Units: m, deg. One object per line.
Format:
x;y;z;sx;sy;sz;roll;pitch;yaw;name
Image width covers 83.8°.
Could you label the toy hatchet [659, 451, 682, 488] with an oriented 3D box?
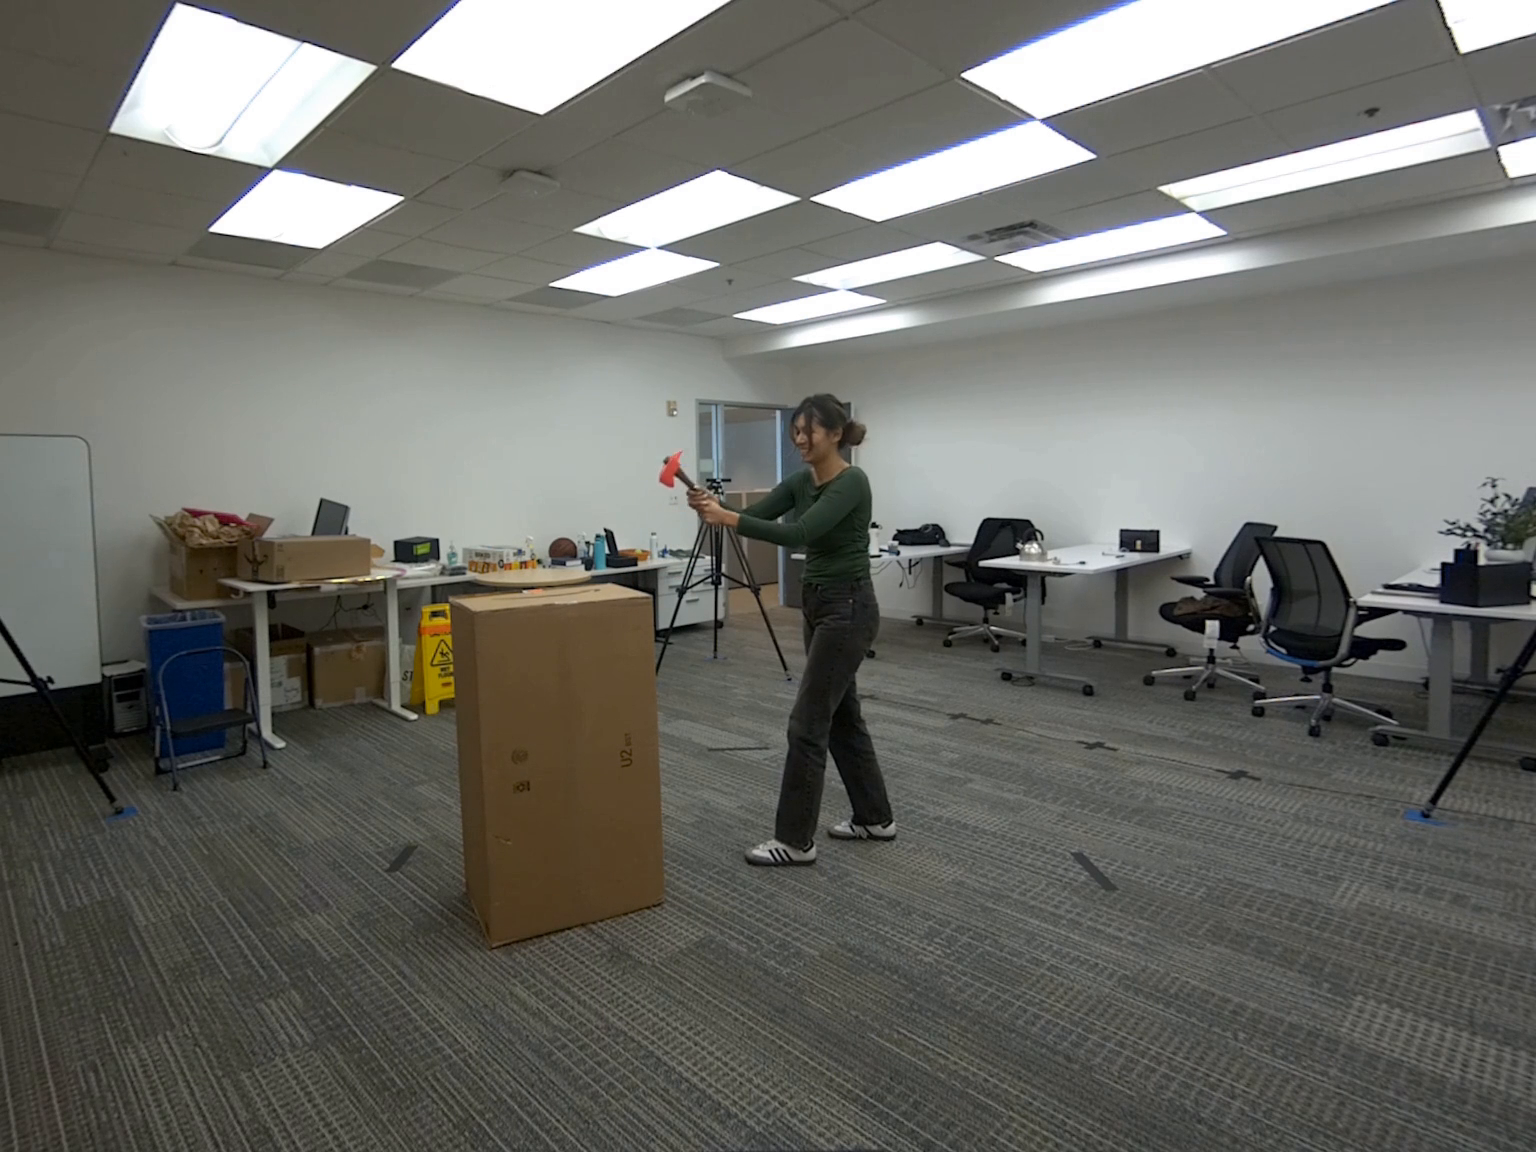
-0.280;-0.272;2.855;0.030;0.264;0.130;-2;31;50;toy hatchet
